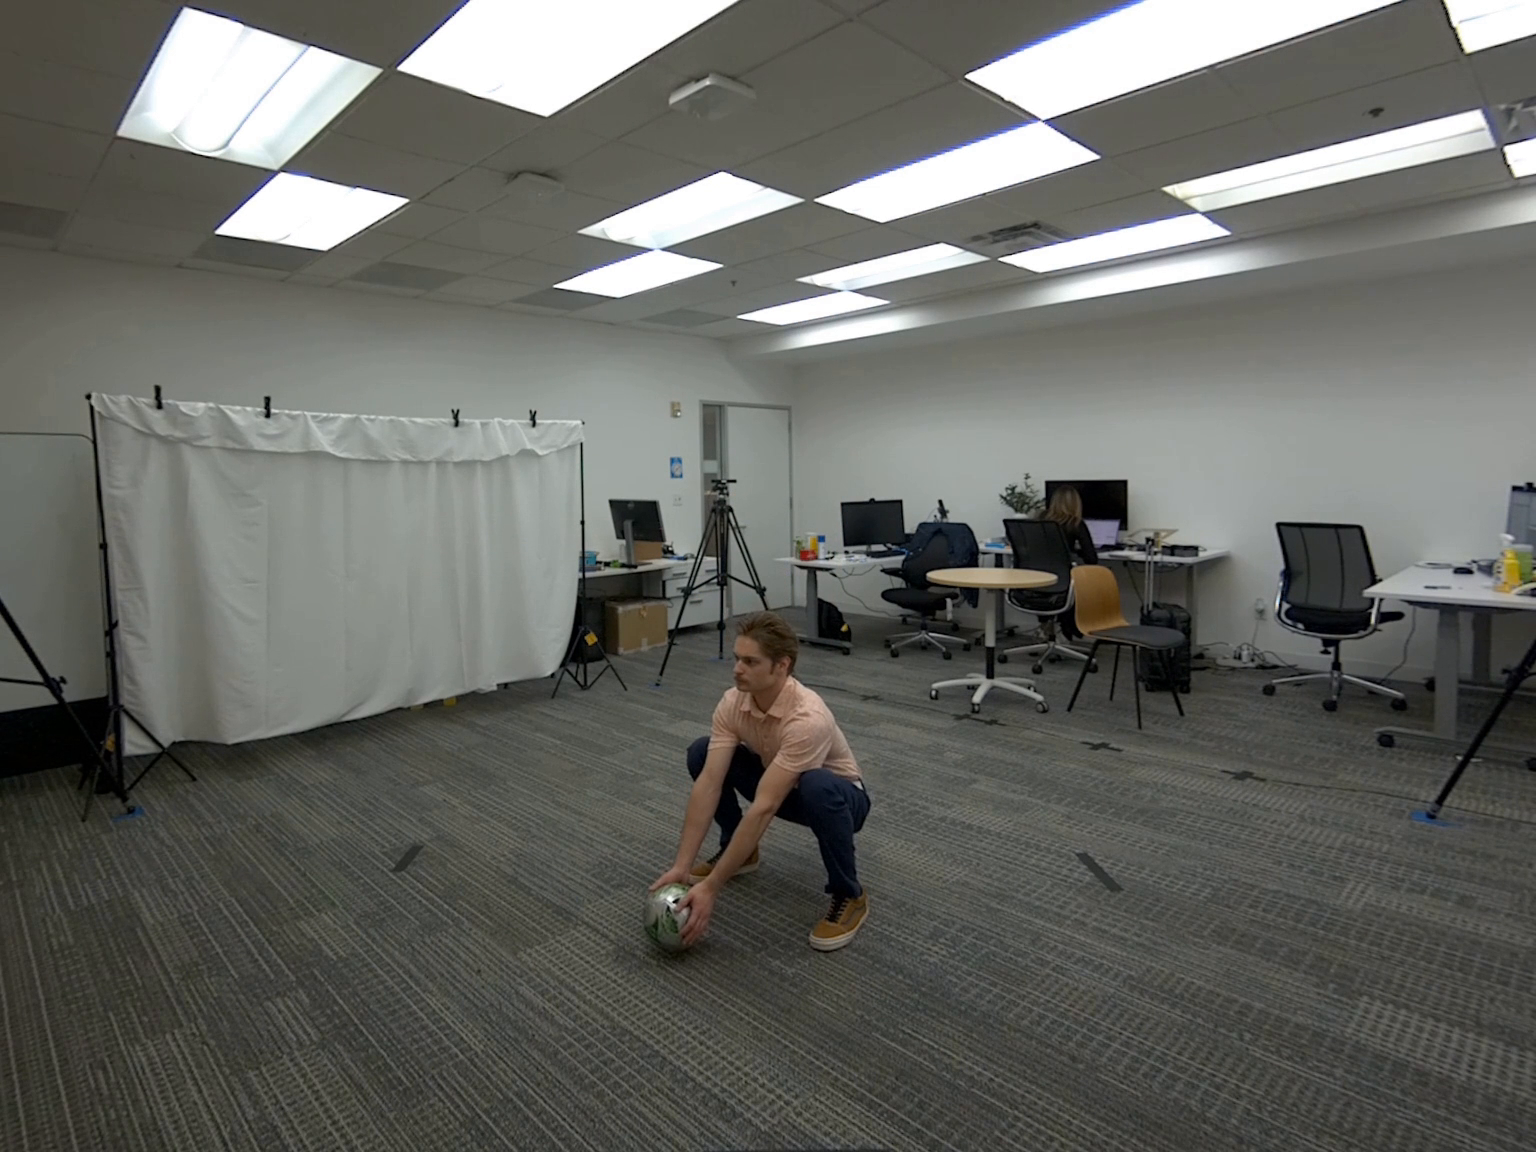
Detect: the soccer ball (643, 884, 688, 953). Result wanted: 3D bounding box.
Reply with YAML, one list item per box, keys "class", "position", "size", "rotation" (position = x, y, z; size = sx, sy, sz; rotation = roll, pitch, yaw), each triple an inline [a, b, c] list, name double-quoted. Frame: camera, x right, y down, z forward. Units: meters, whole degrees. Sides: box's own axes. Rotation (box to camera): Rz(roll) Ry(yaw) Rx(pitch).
- class: "soccer ball"
  position: [-0.280, 1.017, 2.548]
  size: [0.187, 0.187, 0.188]
  rotation: [-1, 5, -2]
